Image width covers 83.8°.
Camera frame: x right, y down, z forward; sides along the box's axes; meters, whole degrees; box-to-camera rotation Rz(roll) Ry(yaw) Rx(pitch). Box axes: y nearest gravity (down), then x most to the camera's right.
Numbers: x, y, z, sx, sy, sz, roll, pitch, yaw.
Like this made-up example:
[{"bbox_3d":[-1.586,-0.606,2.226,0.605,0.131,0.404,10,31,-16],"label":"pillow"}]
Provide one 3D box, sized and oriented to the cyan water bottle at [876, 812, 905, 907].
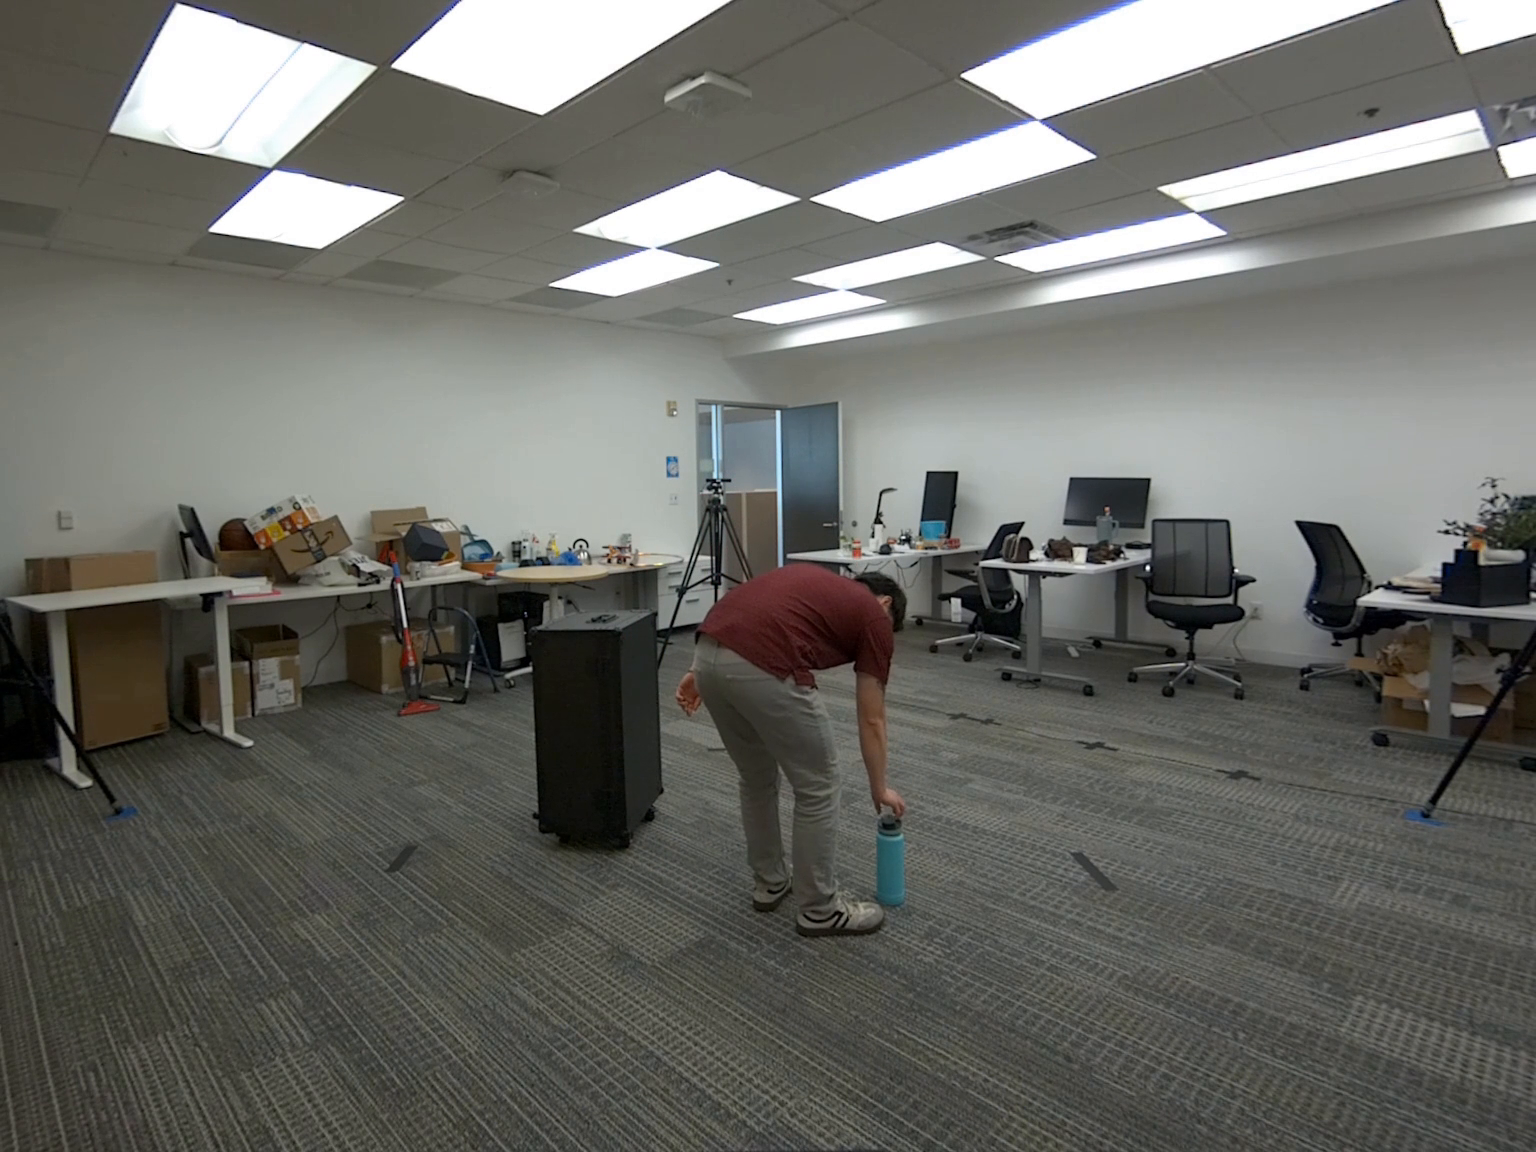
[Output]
[{"bbox_3d":[0.398,0.921,2.821,0.092,0.282,0.093,-5,3,-1],"label":"cyan water bottle"}]
